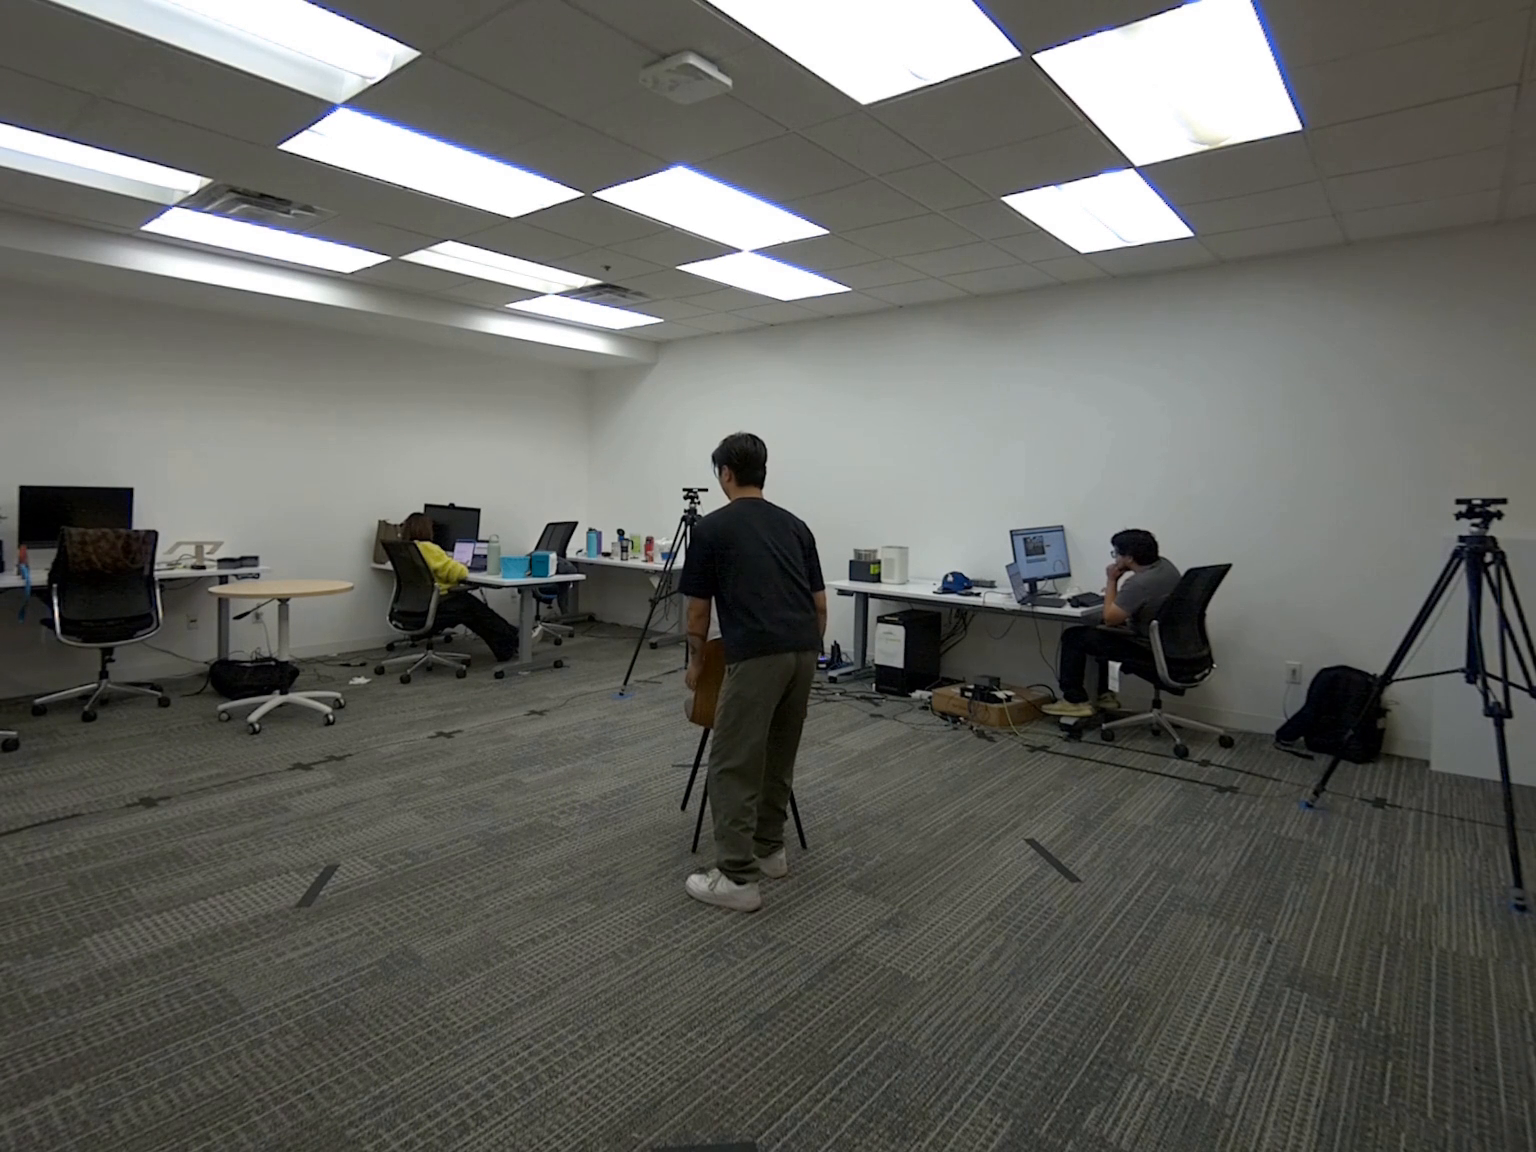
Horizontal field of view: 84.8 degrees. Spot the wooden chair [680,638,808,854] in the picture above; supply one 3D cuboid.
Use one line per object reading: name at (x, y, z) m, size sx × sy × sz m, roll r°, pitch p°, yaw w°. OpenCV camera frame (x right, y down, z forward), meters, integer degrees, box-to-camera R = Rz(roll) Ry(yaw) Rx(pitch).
wooden chair at (-0.128, 0.602, 3.472) m, size 0.473 × 0.871 × 0.532 m, roll -1°, pitch 8°, yaw -10°
